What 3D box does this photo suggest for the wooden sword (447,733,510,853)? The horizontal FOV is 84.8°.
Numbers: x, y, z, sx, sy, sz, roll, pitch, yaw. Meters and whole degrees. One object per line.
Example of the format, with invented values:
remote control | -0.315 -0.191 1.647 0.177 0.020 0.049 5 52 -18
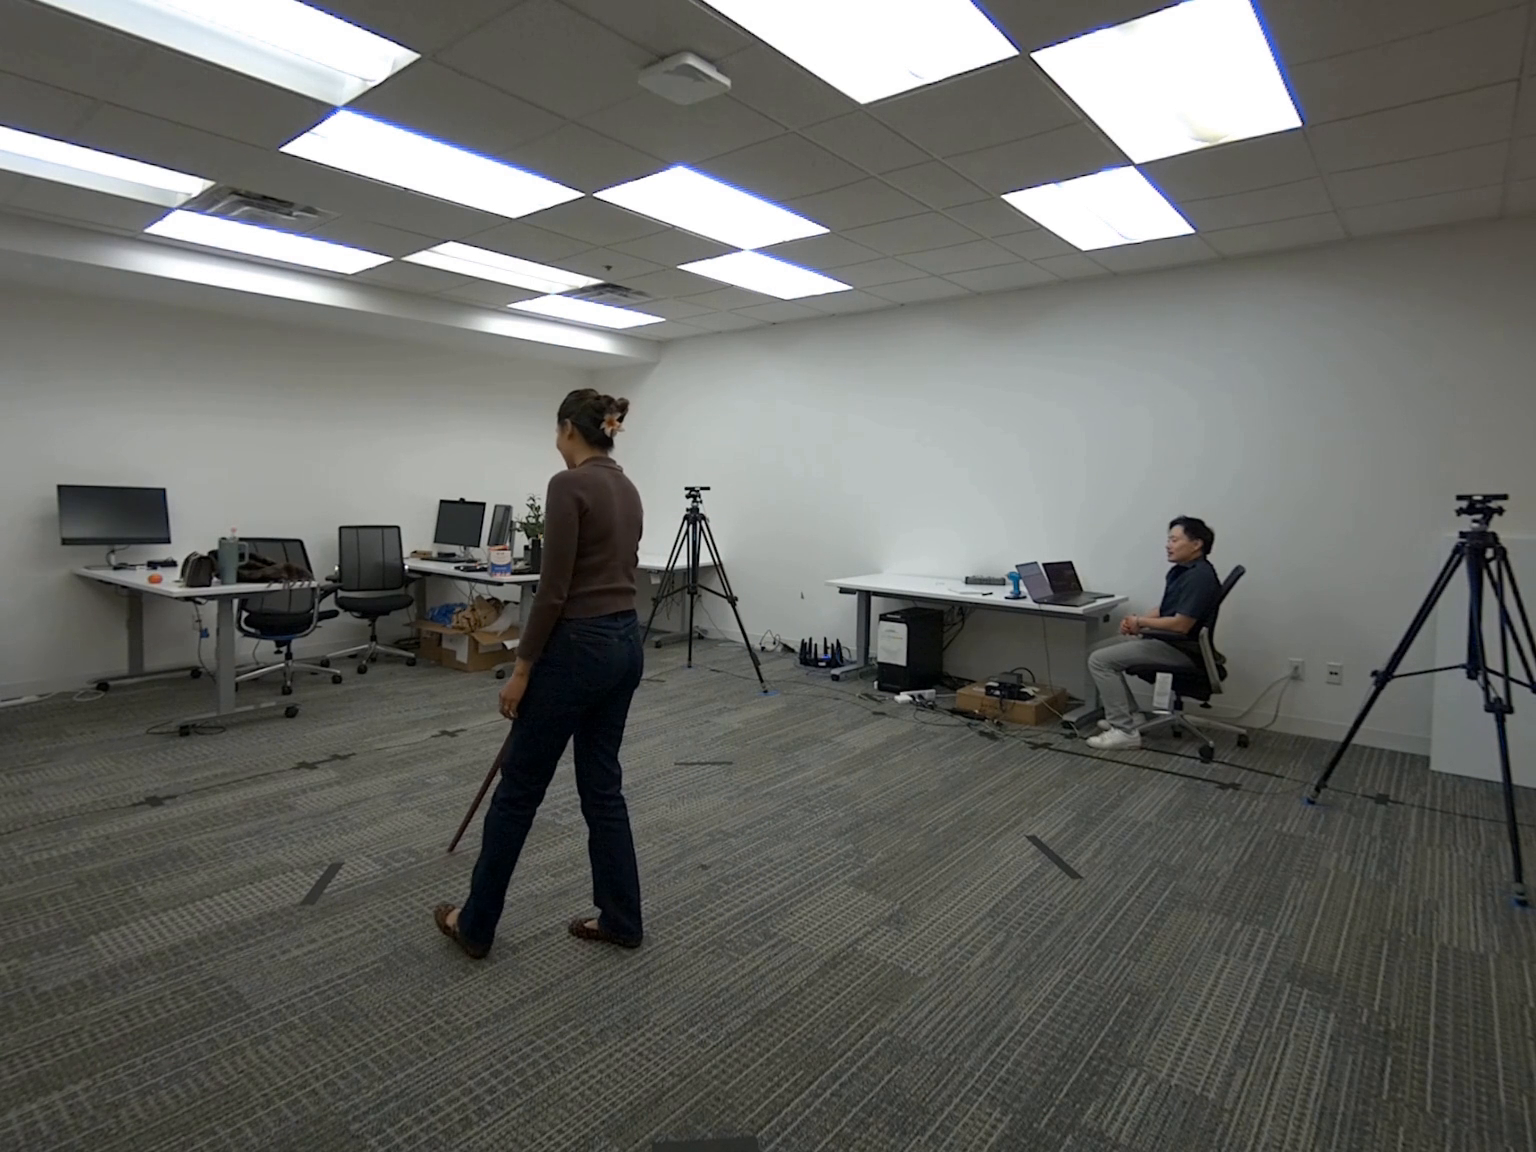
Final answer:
wooden sword | -0.981 0.682 2.987 0.024 1.019 0.050 43 29 14
